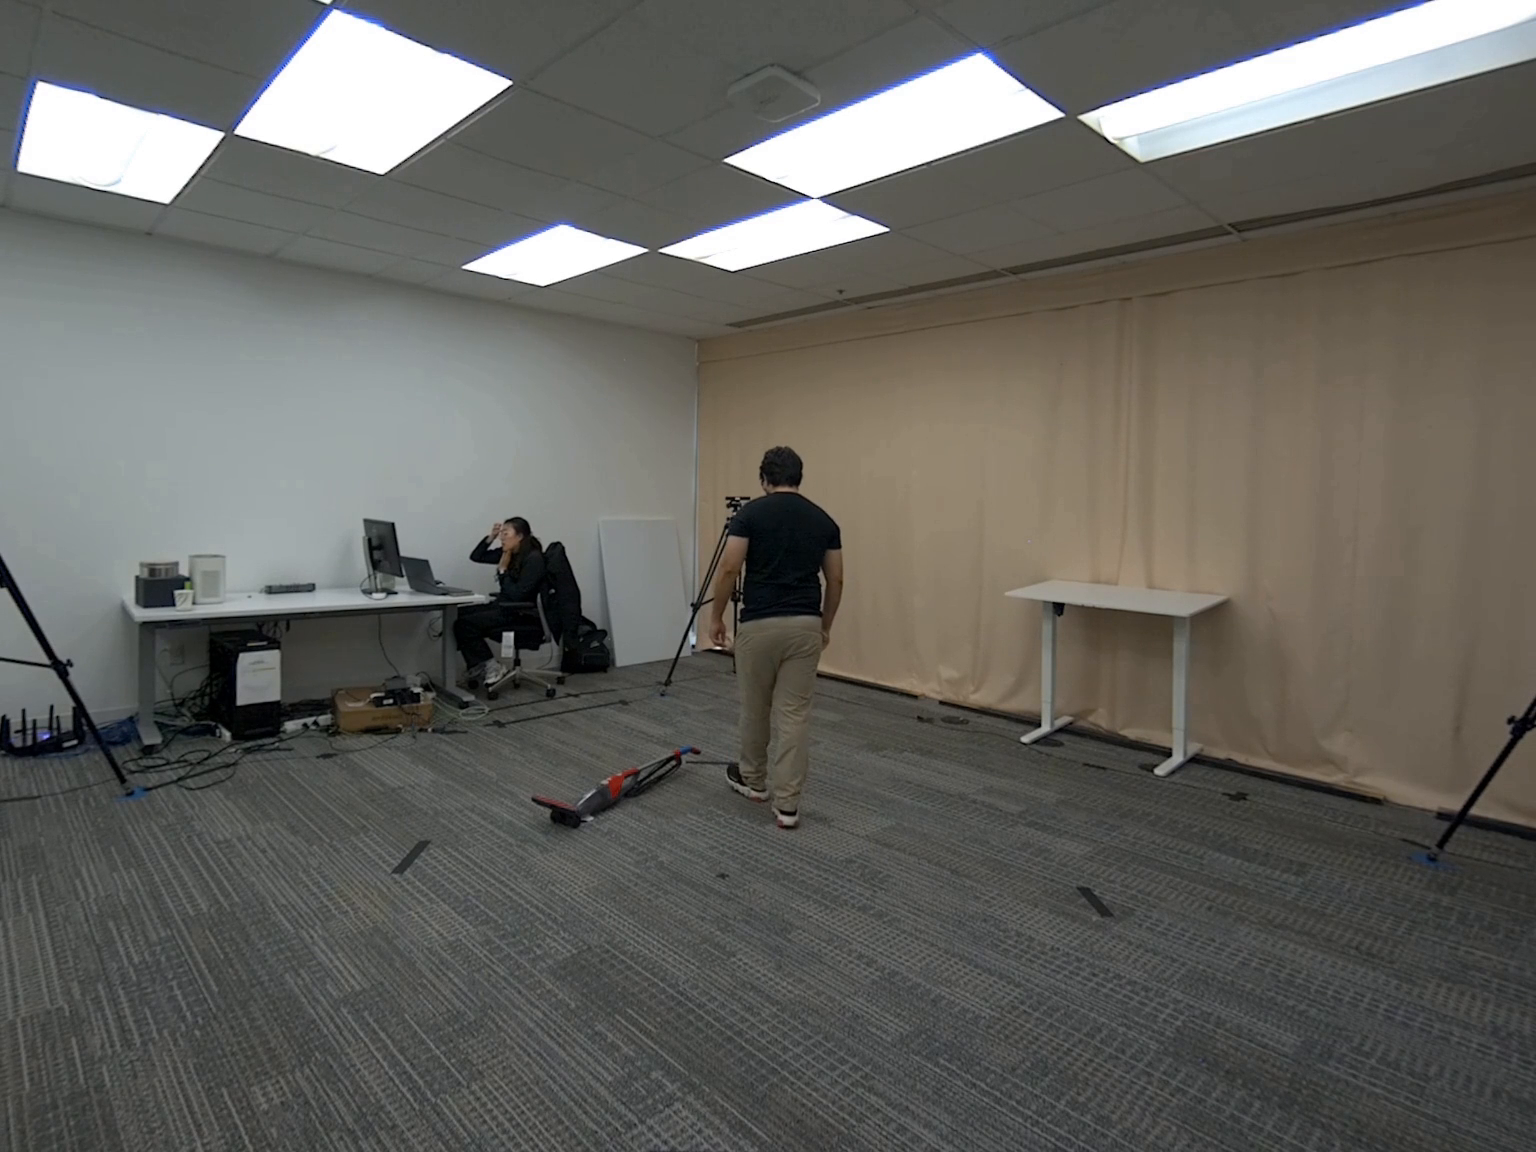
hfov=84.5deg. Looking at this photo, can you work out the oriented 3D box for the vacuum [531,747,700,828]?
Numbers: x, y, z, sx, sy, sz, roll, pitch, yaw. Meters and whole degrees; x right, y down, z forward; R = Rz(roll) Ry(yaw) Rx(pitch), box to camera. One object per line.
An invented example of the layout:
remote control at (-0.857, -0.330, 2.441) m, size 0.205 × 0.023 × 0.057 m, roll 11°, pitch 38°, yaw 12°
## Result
vacuum at (-0.630, 0.961, 3.960) m, size 0.258 × 0.143 × 1.029 m, roll 4°, pitch 6°, yaw 29°
